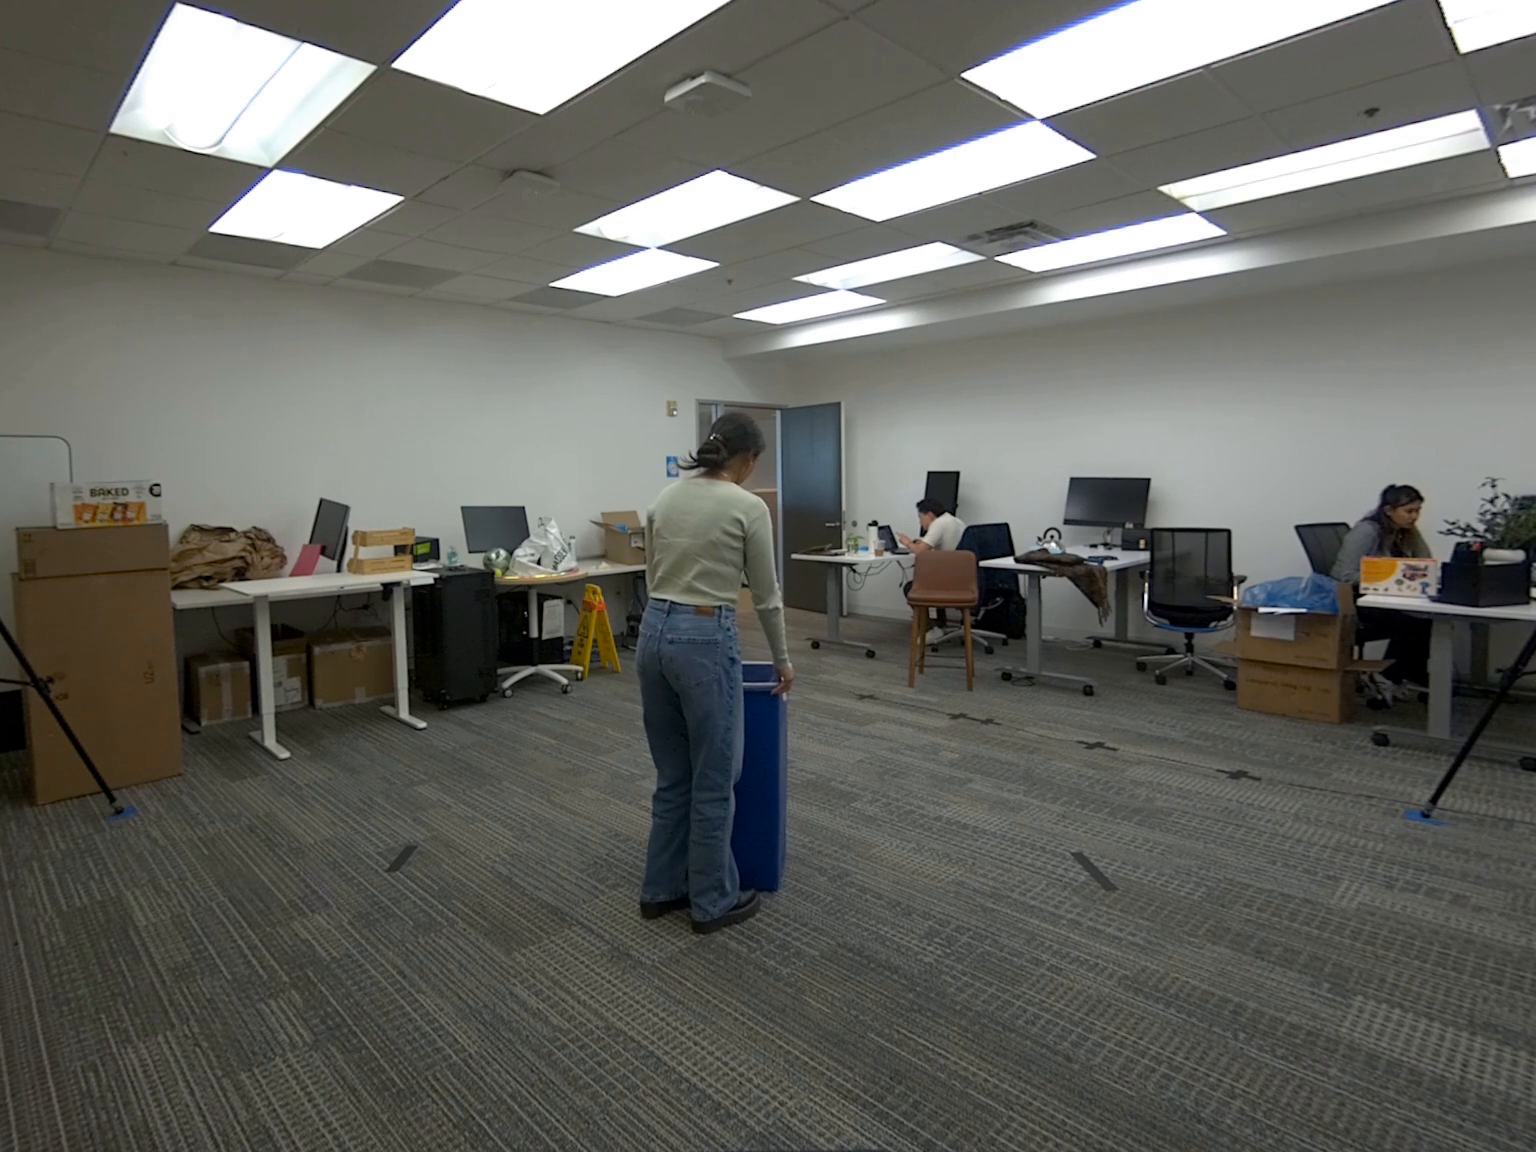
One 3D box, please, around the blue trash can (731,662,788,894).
[{"bbox_3d":[-0.105,0.694,3.031,0.377,0.711,0.376,0,3,7],"label":"blue trash can"}]
